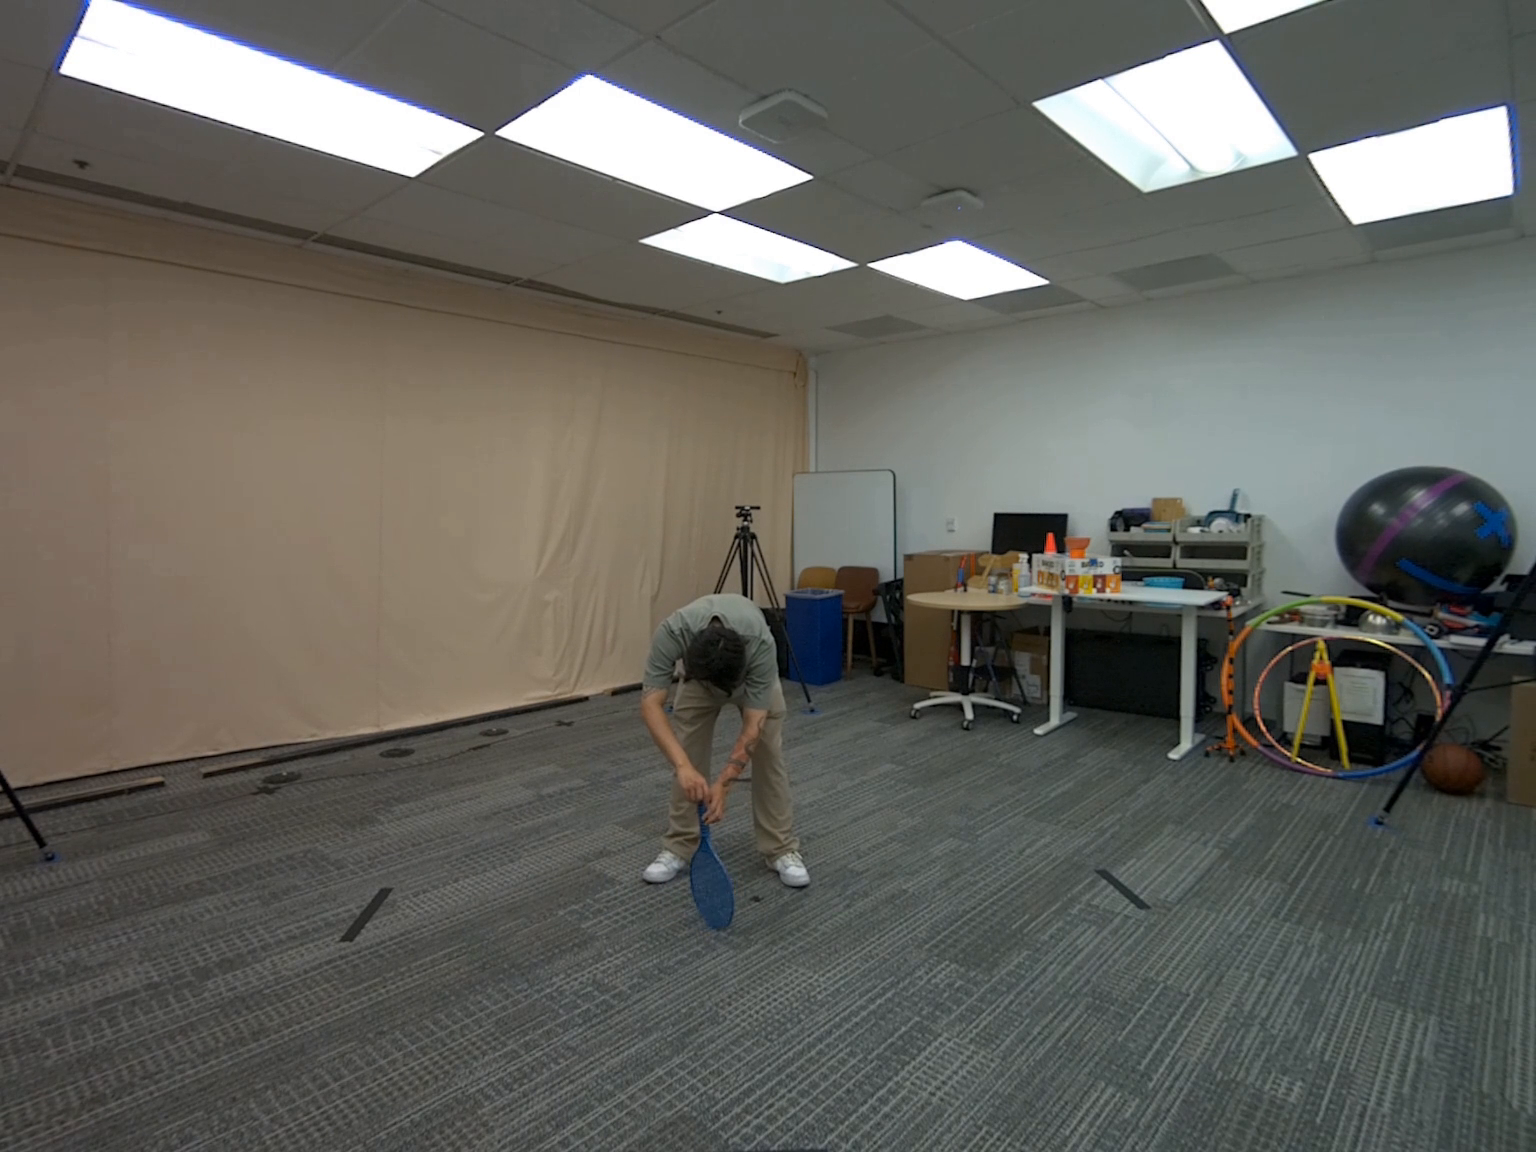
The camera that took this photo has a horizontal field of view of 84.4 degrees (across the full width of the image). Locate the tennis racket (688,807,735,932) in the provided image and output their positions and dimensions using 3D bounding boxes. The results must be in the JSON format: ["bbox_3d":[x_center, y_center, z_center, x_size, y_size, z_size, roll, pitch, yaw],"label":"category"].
[{"bbox_3d":[-0.195,0.948,2.767,0.031,0.433,0.220,-8,0,-42],"label":"tennis racket"}]
